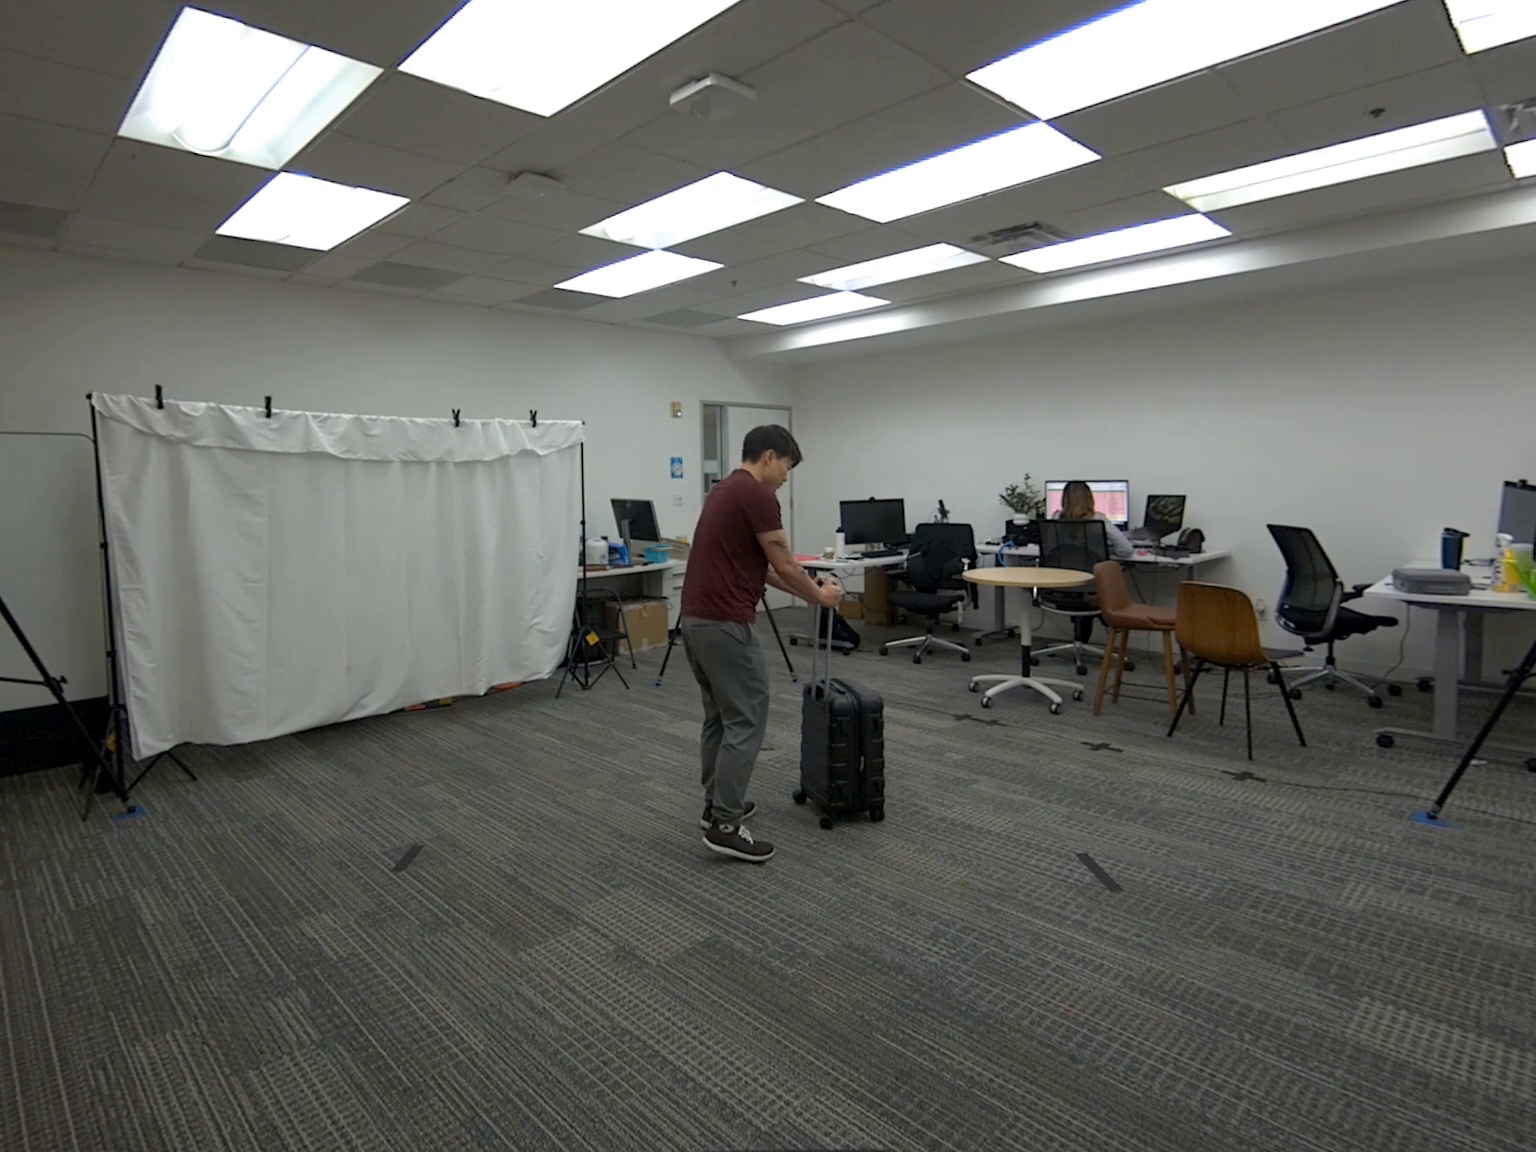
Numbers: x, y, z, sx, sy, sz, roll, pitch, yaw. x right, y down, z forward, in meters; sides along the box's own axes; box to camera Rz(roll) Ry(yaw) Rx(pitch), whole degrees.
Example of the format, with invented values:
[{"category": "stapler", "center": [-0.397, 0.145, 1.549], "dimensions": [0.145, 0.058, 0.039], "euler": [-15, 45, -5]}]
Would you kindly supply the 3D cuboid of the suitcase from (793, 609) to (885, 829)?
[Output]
[{"category": "suitcase", "center": [0.312, 0.519, 3.559], "dimensions": [0.253, 0.975, 0.391], "euler": [1, 4, -17]}]
